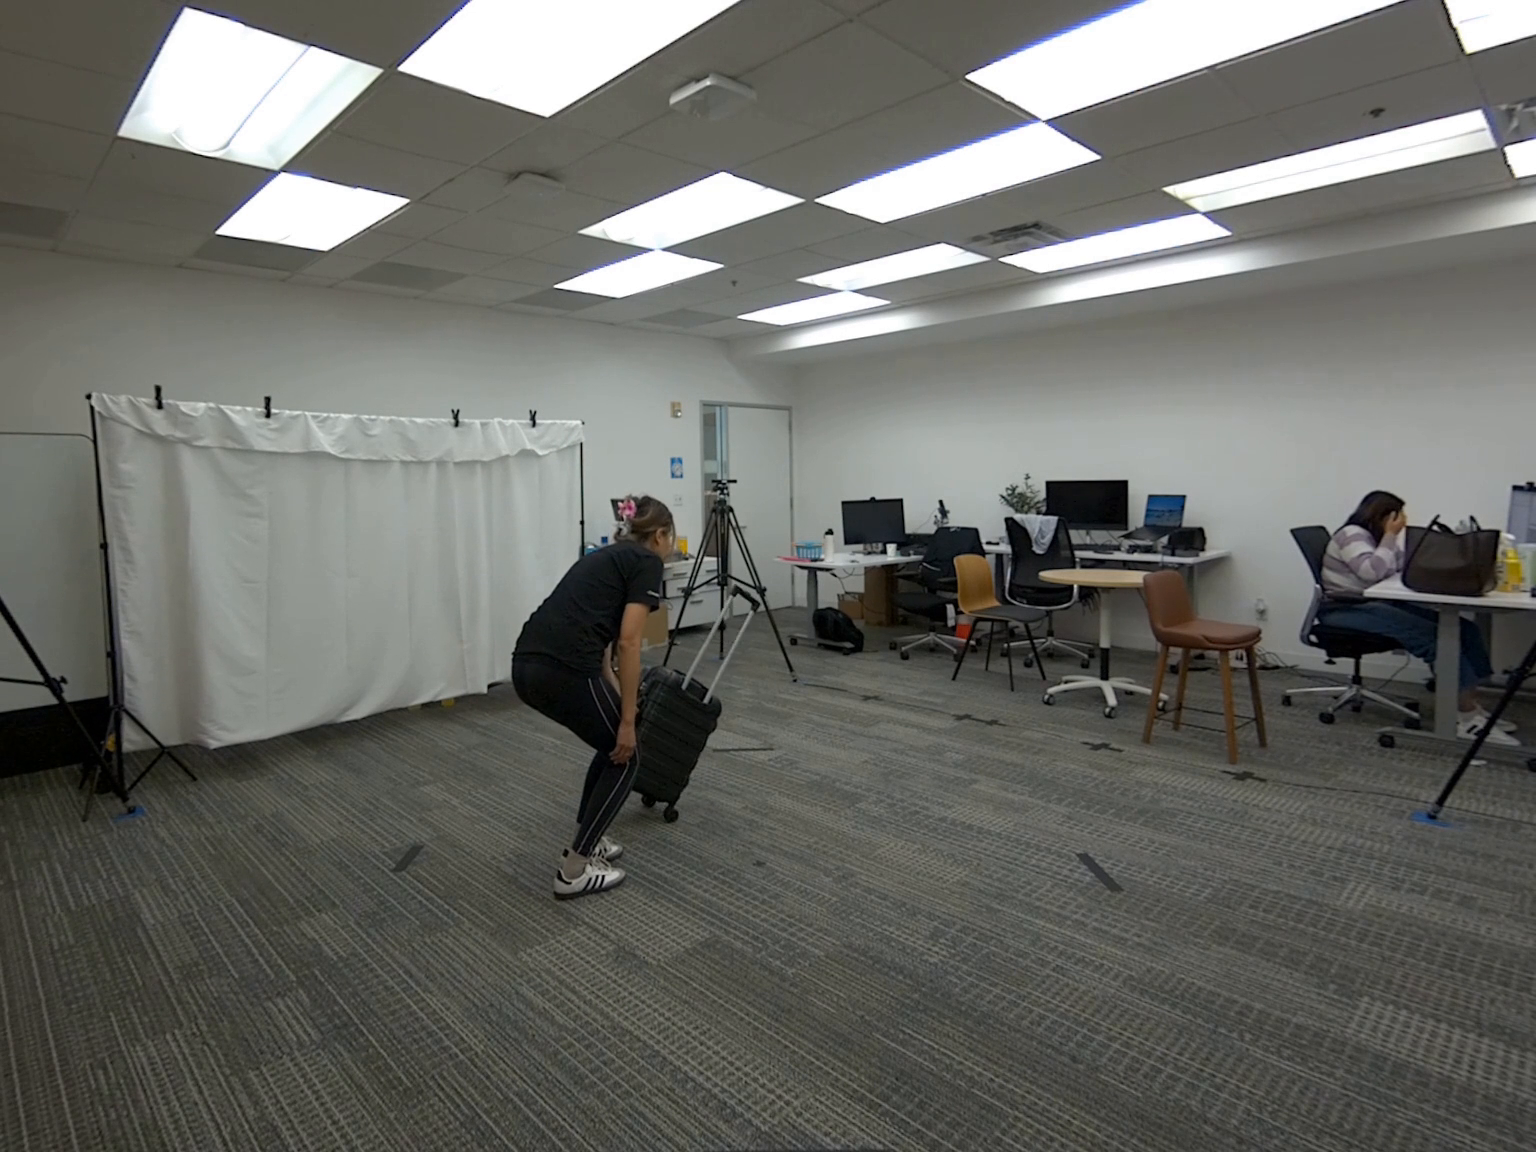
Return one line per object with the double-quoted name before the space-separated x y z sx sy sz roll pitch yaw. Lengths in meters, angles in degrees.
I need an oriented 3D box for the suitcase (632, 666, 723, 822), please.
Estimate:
"suitcase" -0.380 0.502 3.655 0.372 0.984 0.263 35 -19 -27
